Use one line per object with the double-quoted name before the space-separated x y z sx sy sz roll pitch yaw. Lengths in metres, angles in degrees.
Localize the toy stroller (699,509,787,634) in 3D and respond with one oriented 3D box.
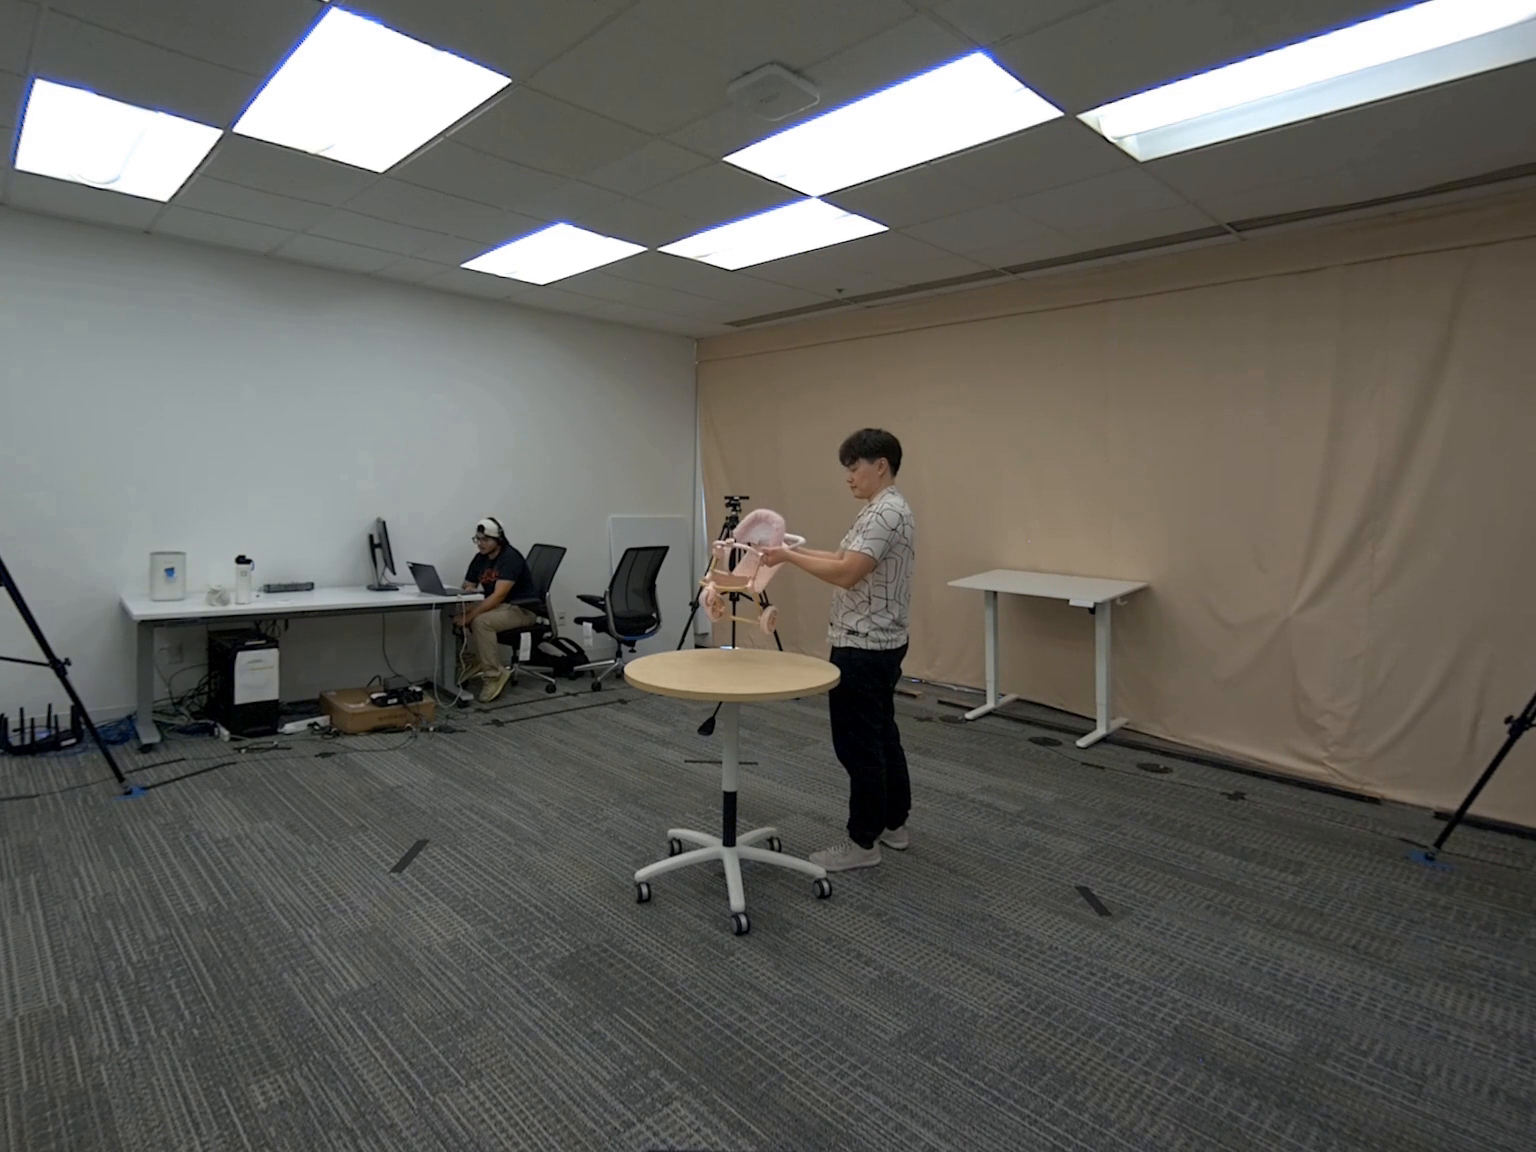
"toy stroller" -0.082 -0.037 3.188 0.288 0.538 0.330 8 -31 35
